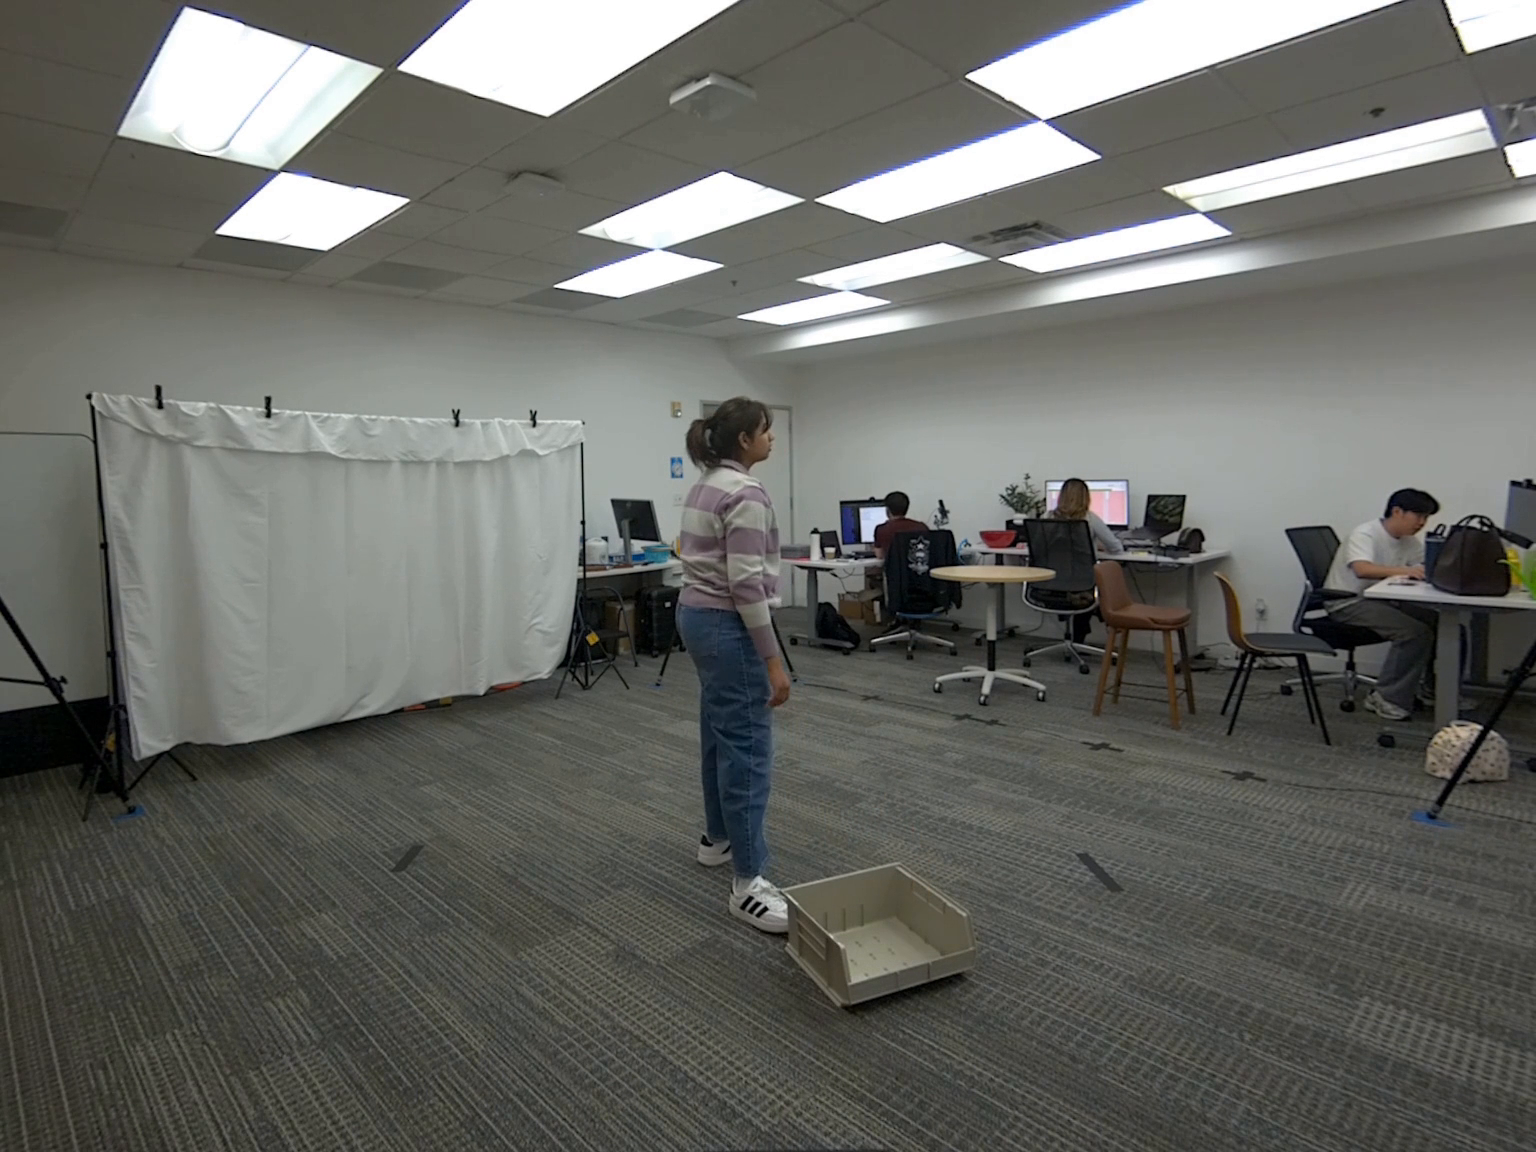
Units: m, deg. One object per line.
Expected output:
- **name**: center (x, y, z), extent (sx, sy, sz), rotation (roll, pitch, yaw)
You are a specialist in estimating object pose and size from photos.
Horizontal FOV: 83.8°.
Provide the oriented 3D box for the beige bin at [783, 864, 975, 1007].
- **beige bin**: center (0.314, 1.029, 2.450), extent (0.414, 0.188, 0.387), rotation (-4, 6, -25)
